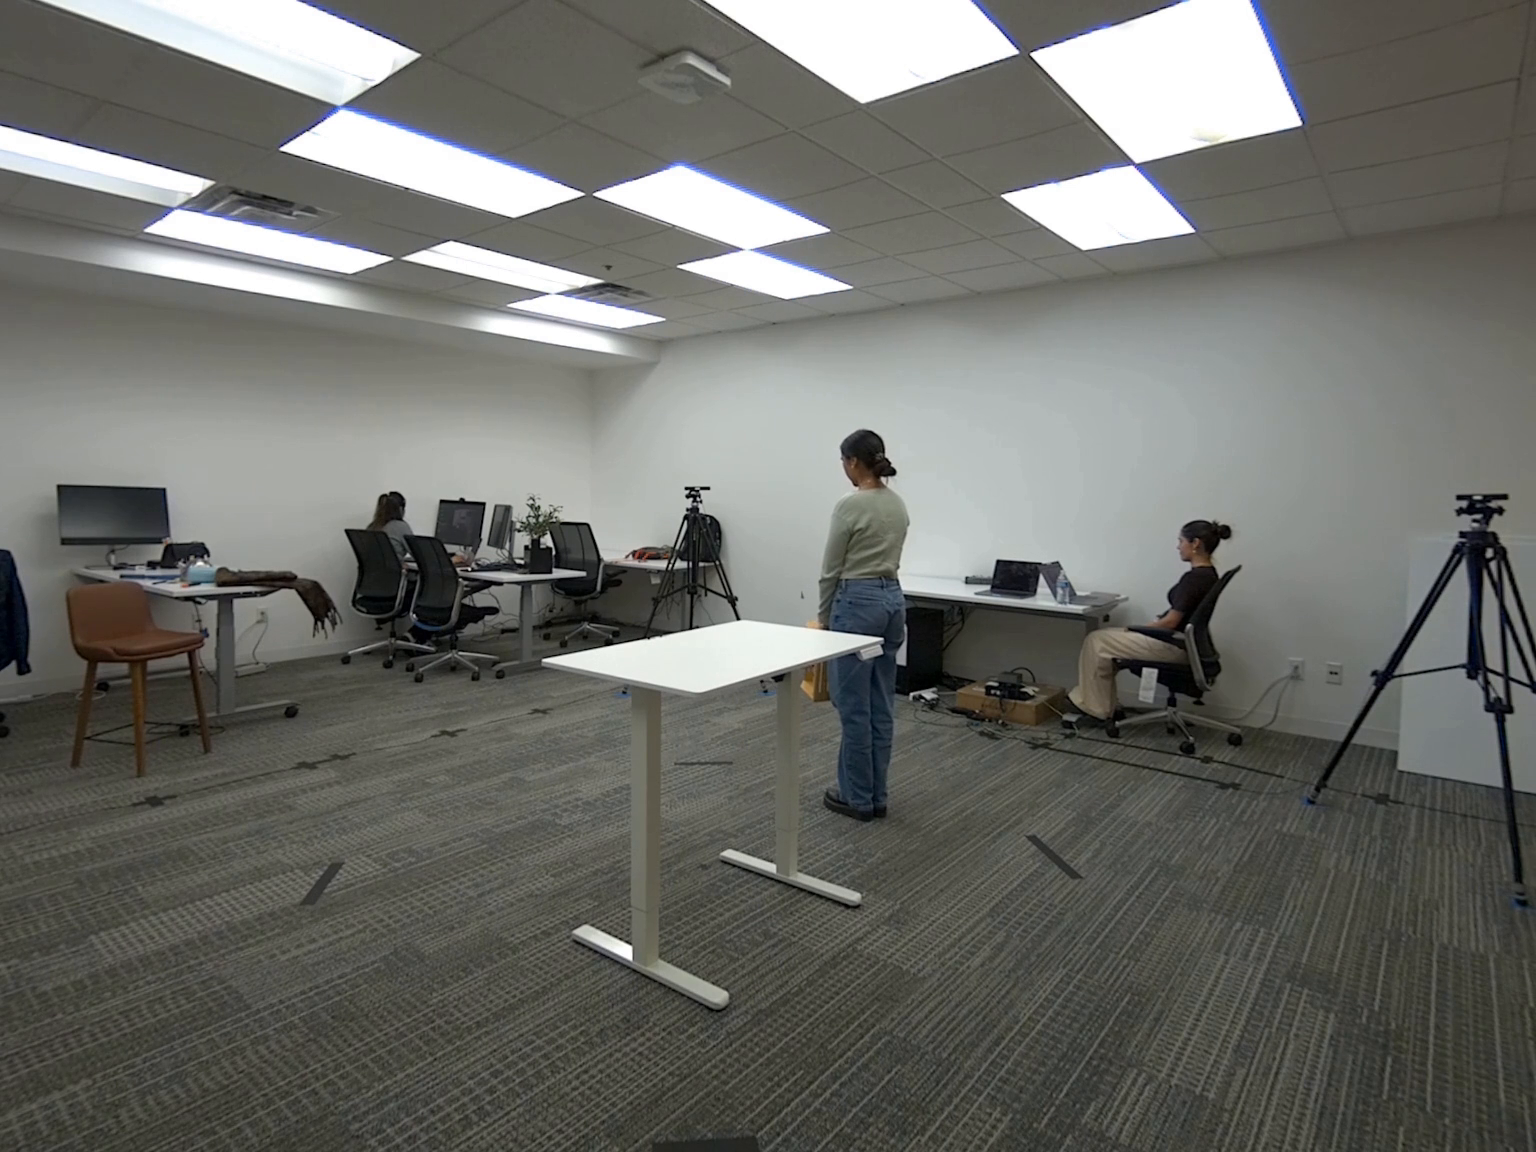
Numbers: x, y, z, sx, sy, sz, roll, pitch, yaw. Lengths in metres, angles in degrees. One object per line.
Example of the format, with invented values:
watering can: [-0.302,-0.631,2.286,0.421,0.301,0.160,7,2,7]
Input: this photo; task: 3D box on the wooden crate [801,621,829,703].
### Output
wooden crate: [0.254,0.354,3.885,0.268,0.320,0.312,-3,17,-20]
